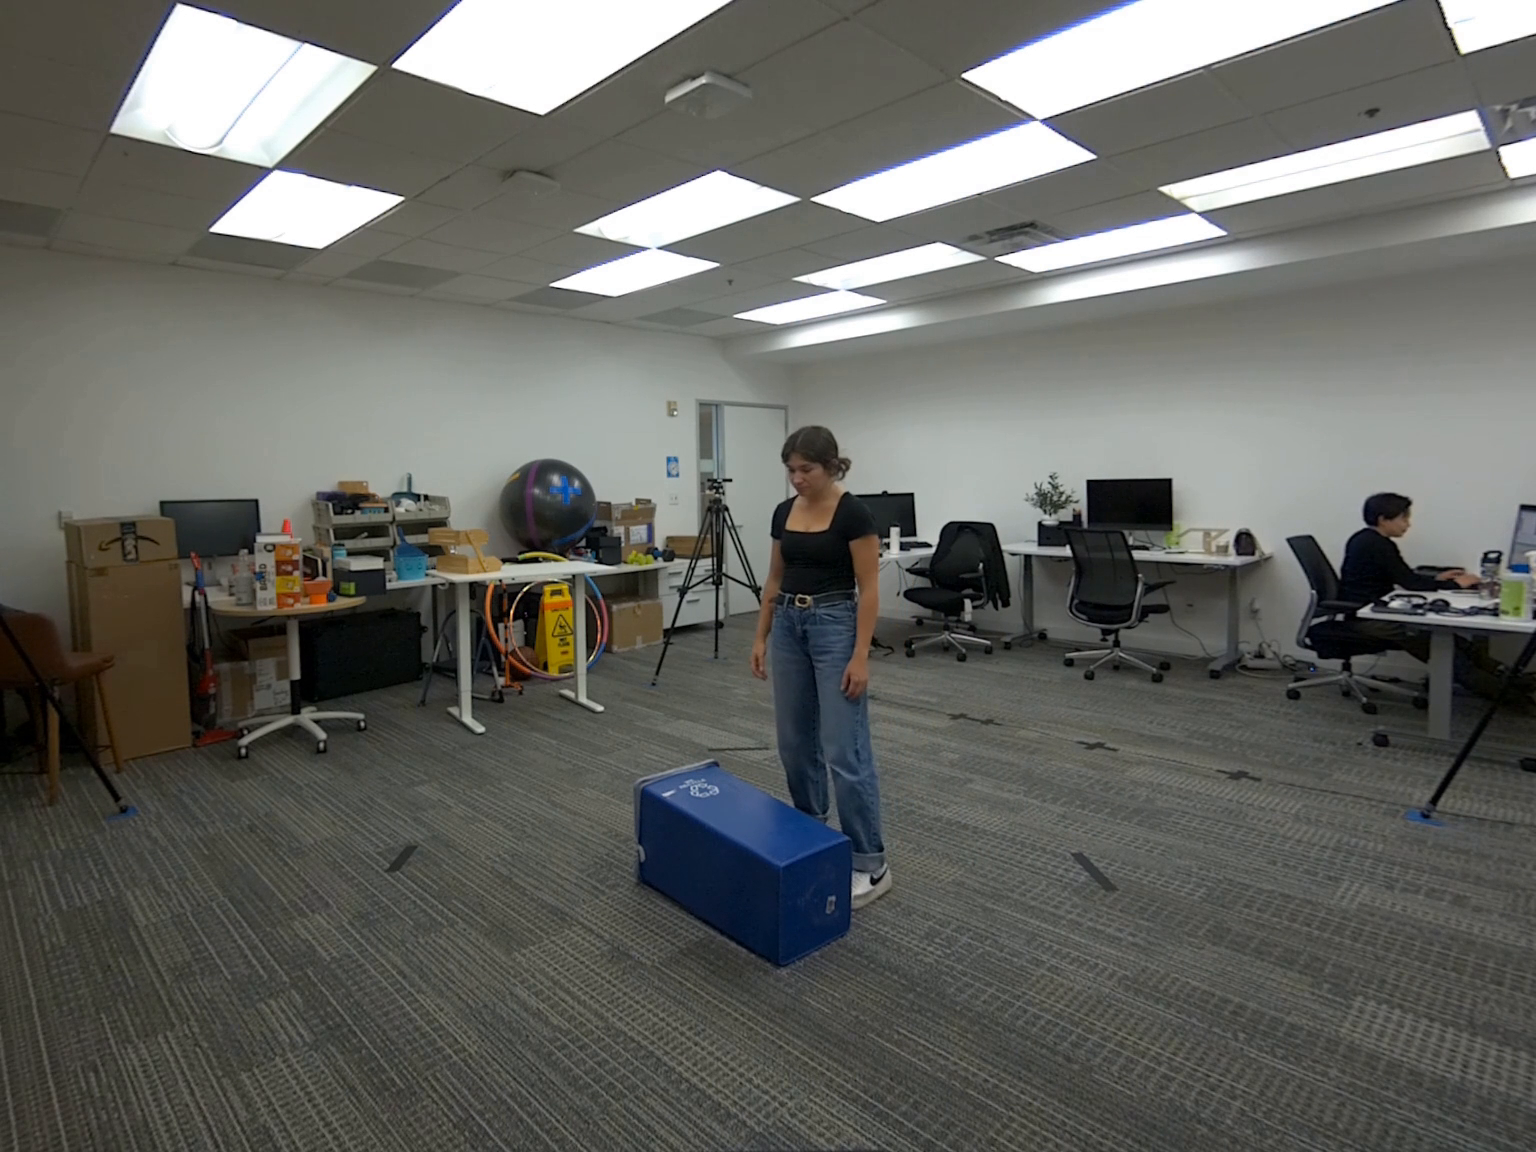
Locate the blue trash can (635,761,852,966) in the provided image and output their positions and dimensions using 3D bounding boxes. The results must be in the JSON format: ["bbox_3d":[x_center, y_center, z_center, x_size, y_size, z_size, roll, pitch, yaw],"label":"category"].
[{"bbox_3d":[-0.092,0.920,2.781,0.368,0.372,0.737,-4,10,-39],"label":"blue trash can"}]
